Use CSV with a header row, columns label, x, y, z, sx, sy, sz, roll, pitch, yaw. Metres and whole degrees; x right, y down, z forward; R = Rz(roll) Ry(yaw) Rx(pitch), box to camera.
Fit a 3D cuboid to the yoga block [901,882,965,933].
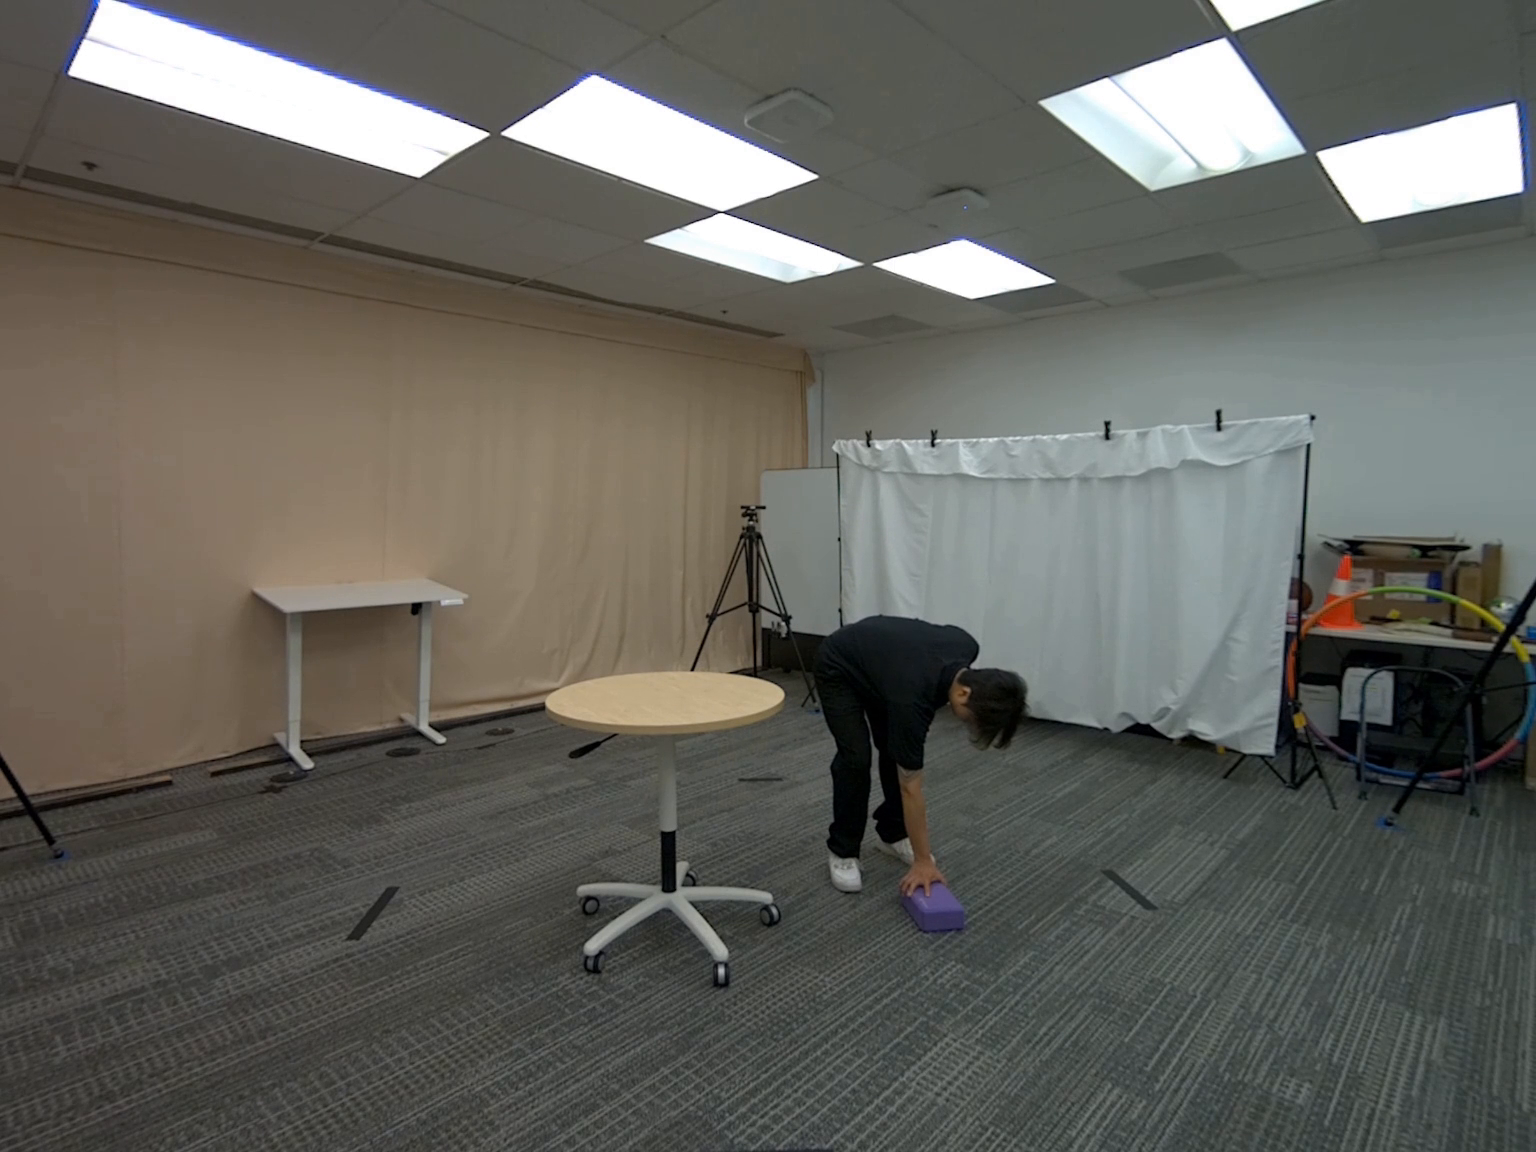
label,x,y,z,sx,sy,sz,roll,pitch,yaw
yoga block,0.551,1.107,2.857,0.148,0.076,0.232,-3,5,-9
